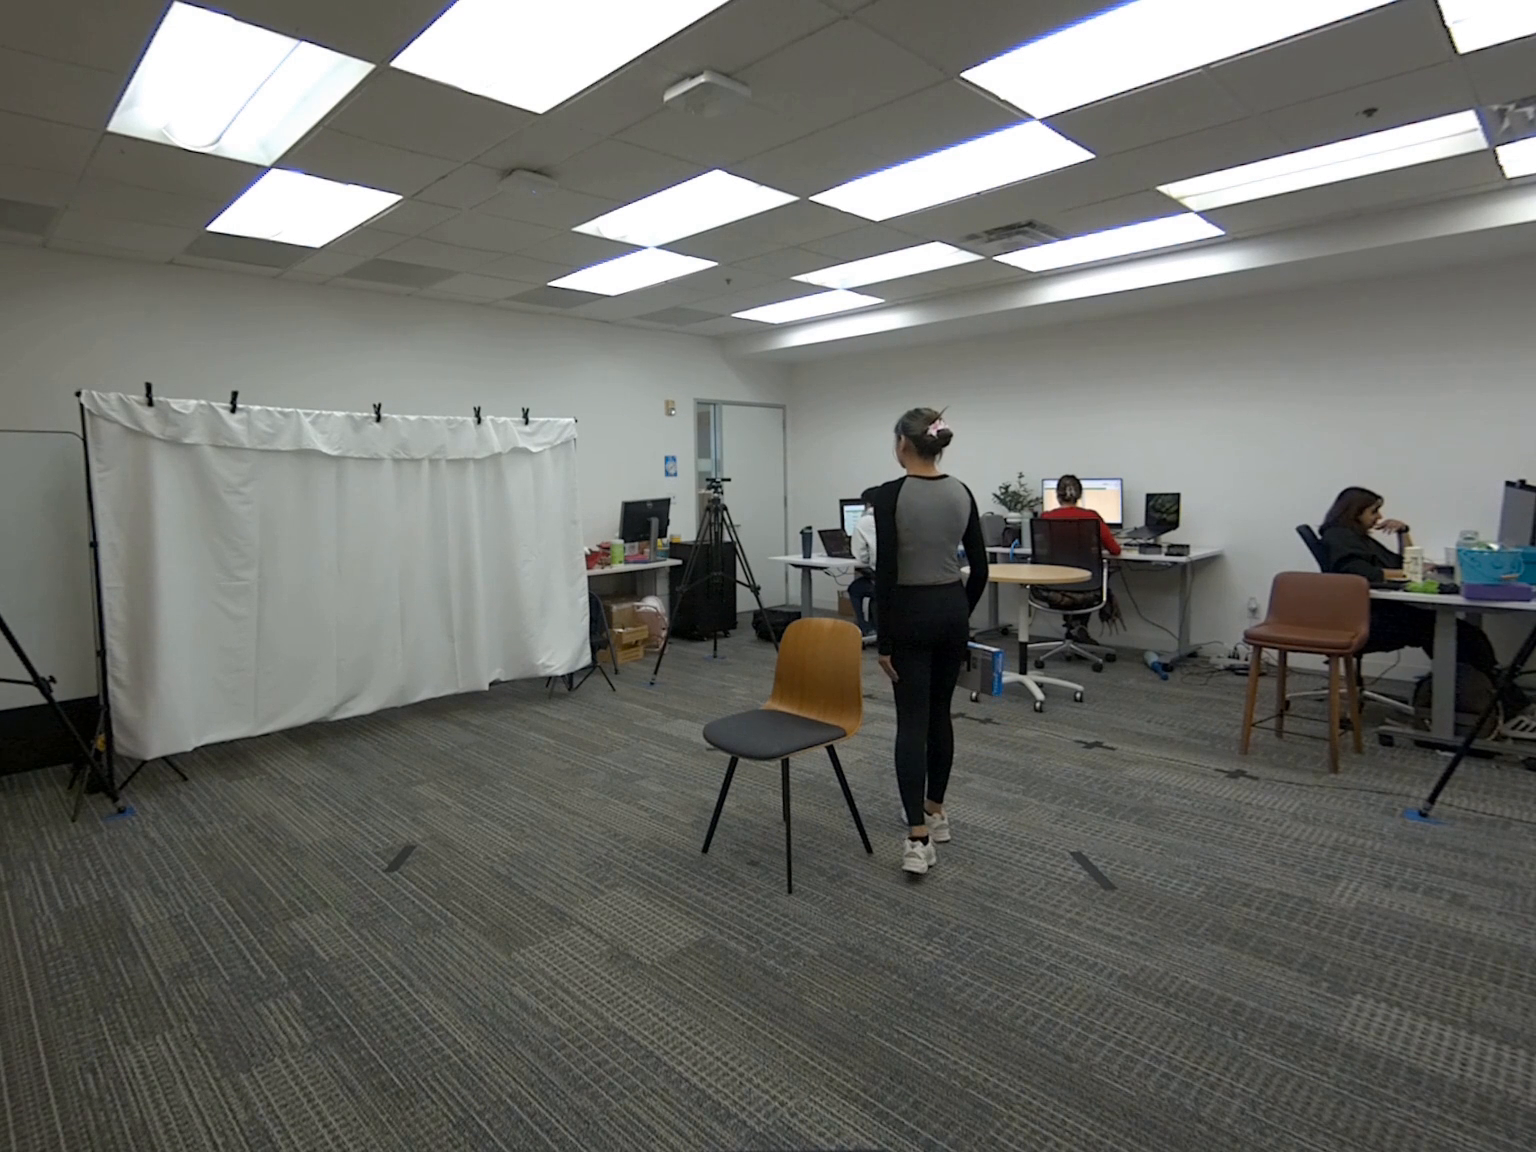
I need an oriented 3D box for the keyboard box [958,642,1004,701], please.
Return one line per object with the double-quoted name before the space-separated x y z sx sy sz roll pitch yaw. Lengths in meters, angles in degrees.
"keyboard box" 0.727 0.338 3.379 0.057 0.175 0.451 -4 10 -36
